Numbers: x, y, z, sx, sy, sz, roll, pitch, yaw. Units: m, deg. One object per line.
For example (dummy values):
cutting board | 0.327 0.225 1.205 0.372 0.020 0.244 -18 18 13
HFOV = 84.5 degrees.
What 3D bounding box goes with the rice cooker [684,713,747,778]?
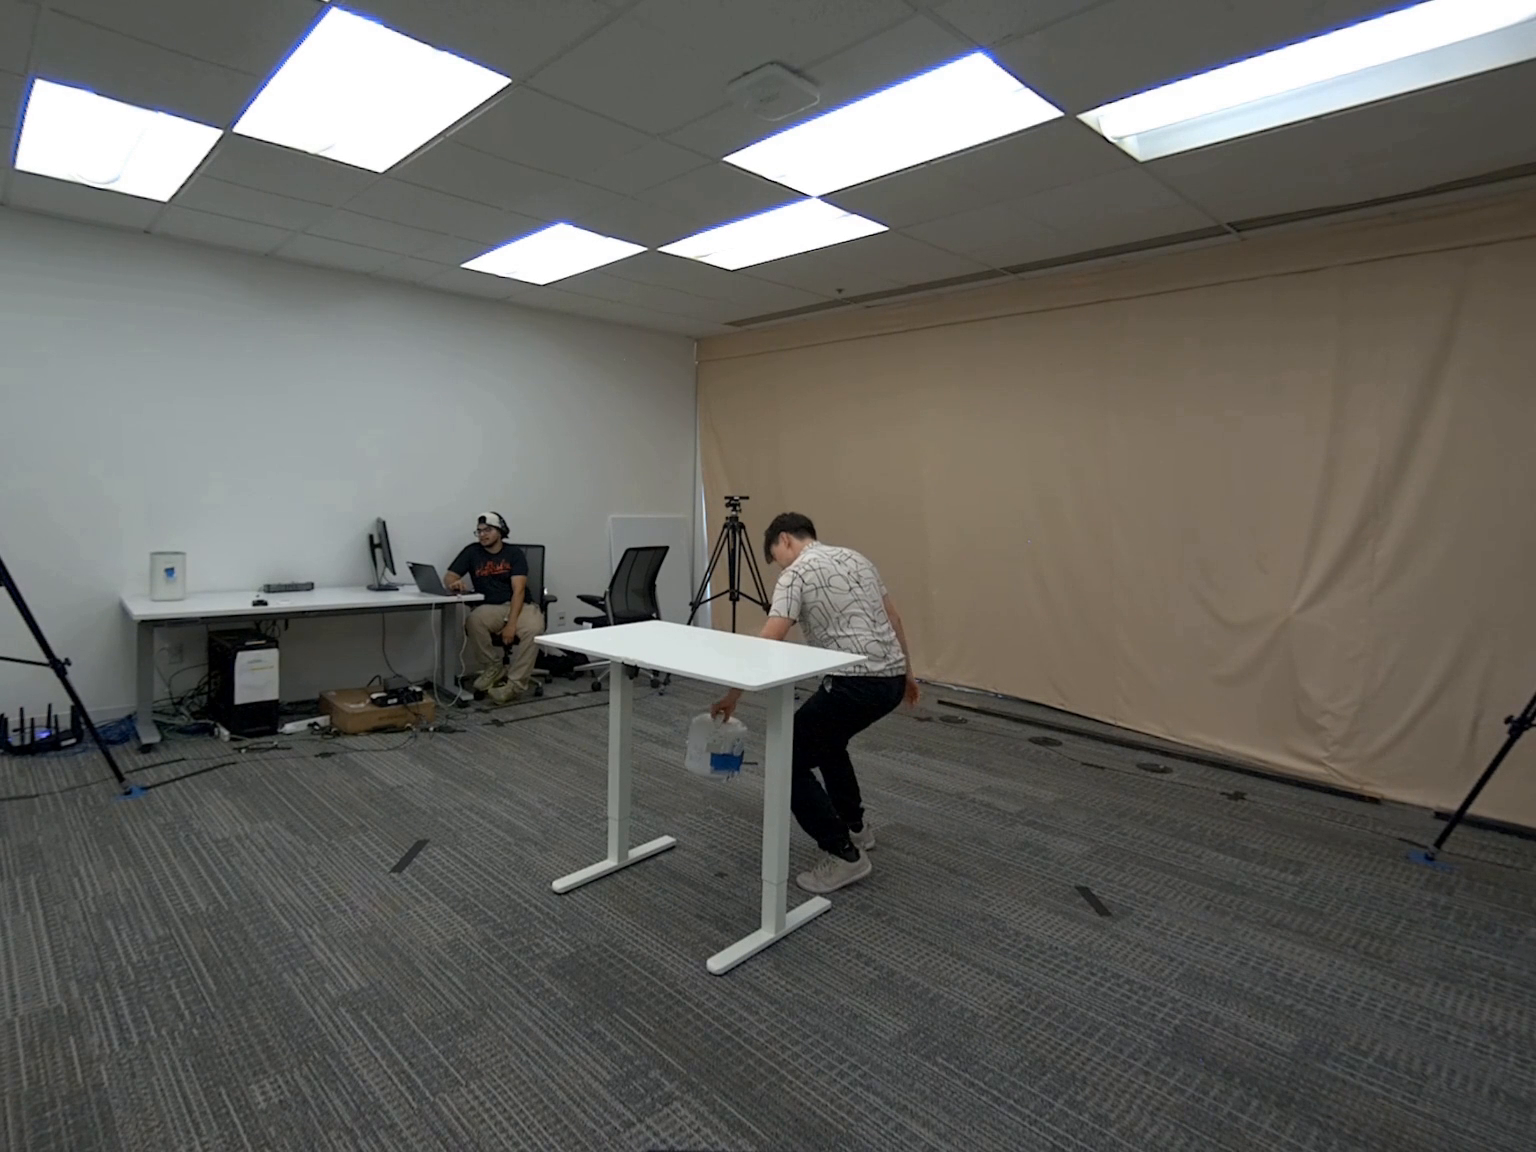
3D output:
rice cooker | -0.190 0.618 3.095 0.218 0.233 0.219 9 1 5
